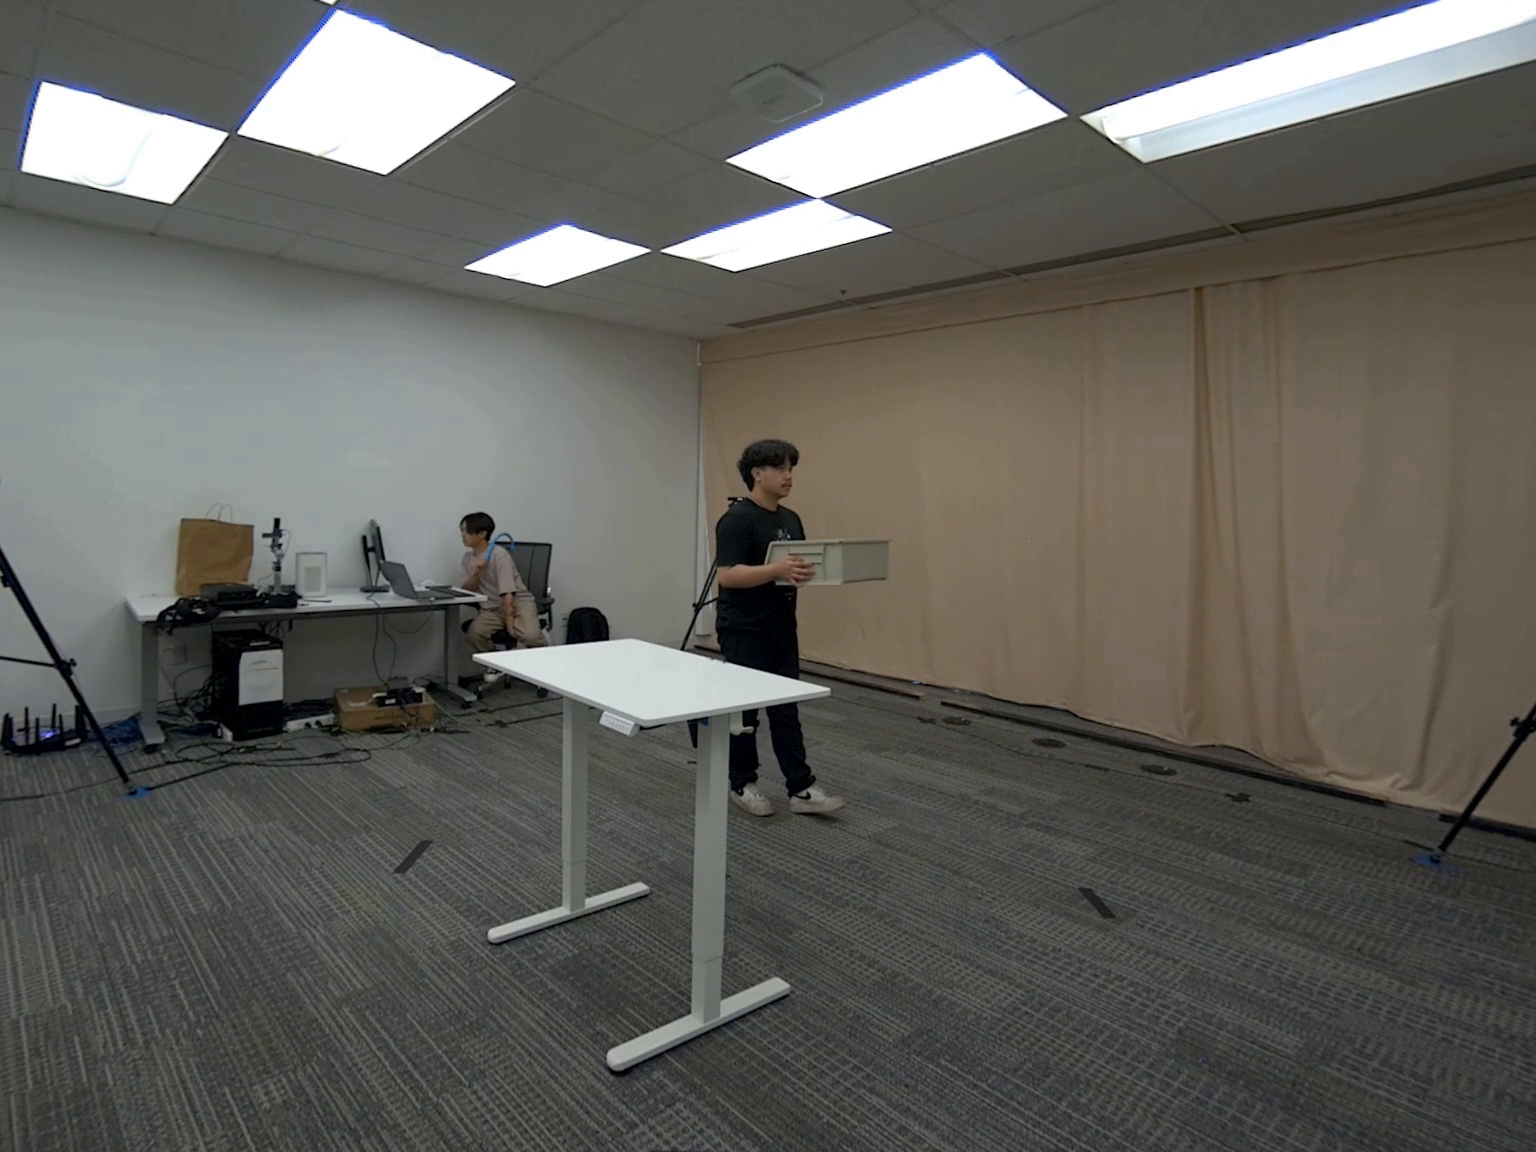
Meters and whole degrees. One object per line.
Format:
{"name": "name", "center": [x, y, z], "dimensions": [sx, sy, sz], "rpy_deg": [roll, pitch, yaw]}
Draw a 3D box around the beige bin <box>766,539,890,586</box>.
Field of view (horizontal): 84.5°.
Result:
{"name": "beige bin", "center": [0.252, -0.065, 3.558], "dimensions": [0.386, 0.189, 0.413], "rpy_deg": [2, 3, 38]}
